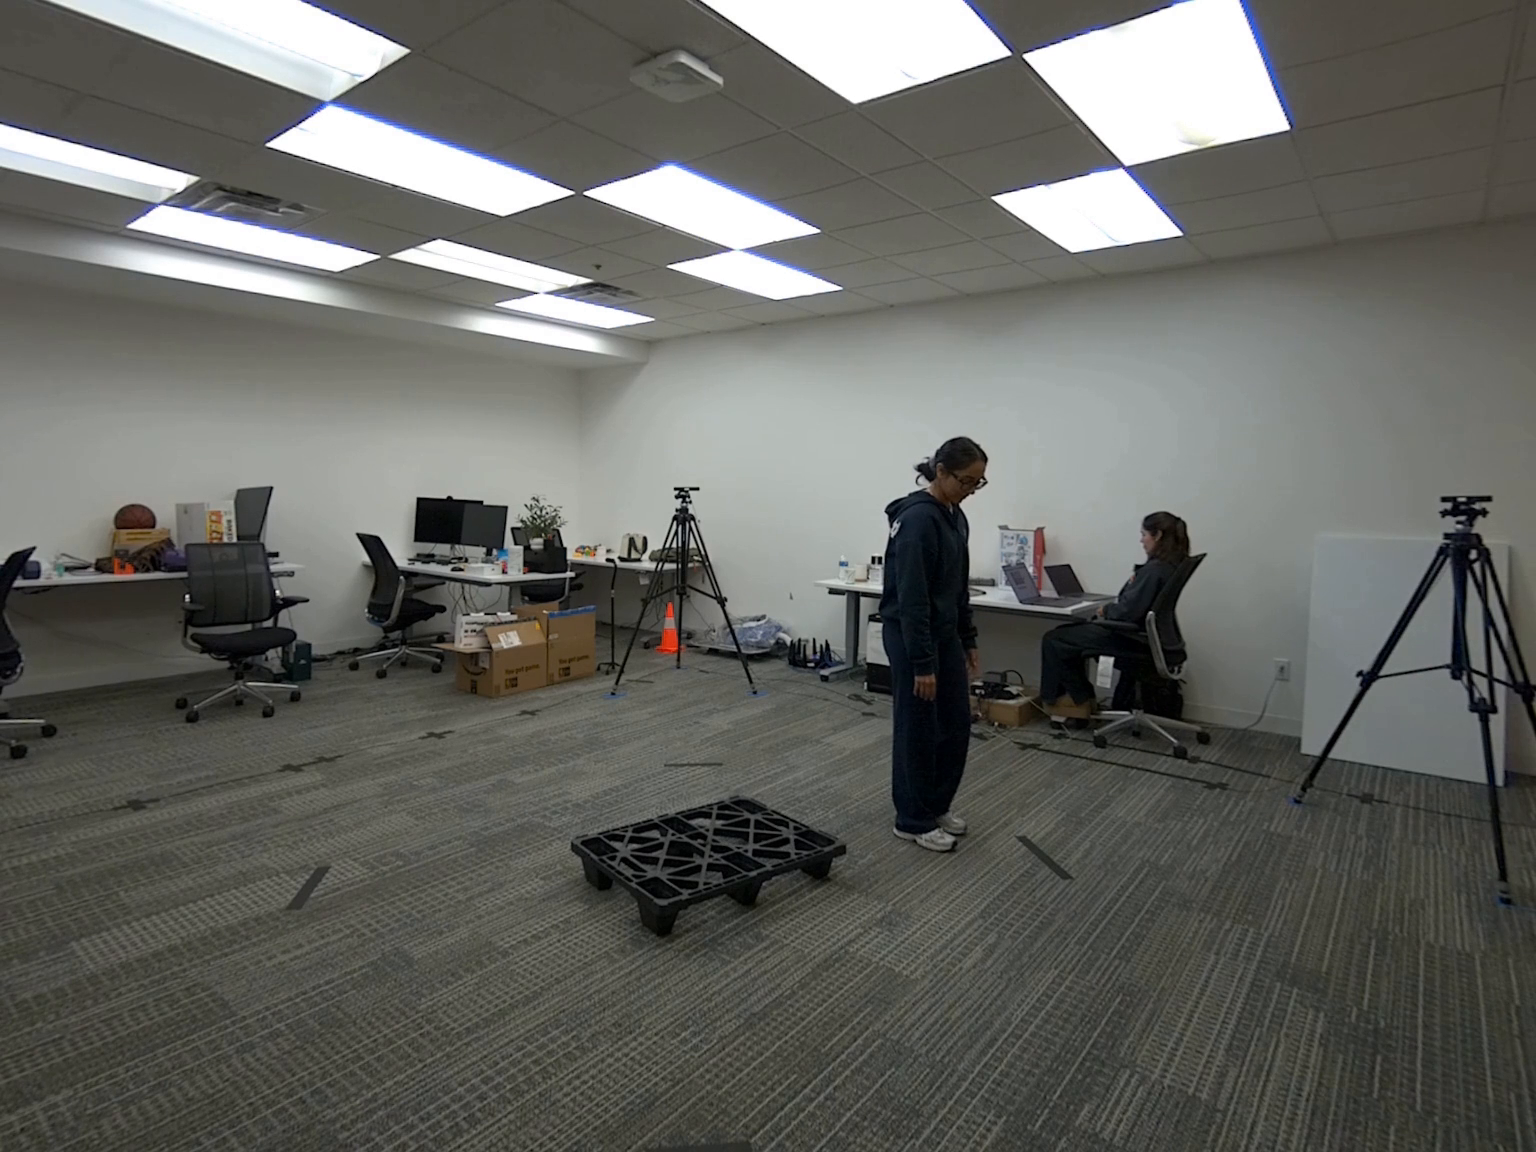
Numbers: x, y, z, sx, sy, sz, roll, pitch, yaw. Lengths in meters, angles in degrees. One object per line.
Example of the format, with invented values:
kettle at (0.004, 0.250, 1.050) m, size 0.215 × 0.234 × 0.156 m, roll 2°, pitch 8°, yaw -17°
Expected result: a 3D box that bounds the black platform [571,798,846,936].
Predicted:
black platform at (-0.218, 1.008, 3.026) m, size 0.782 × 0.143 × 0.626 m, roll -4°, pitch 8°, yaw -39°
